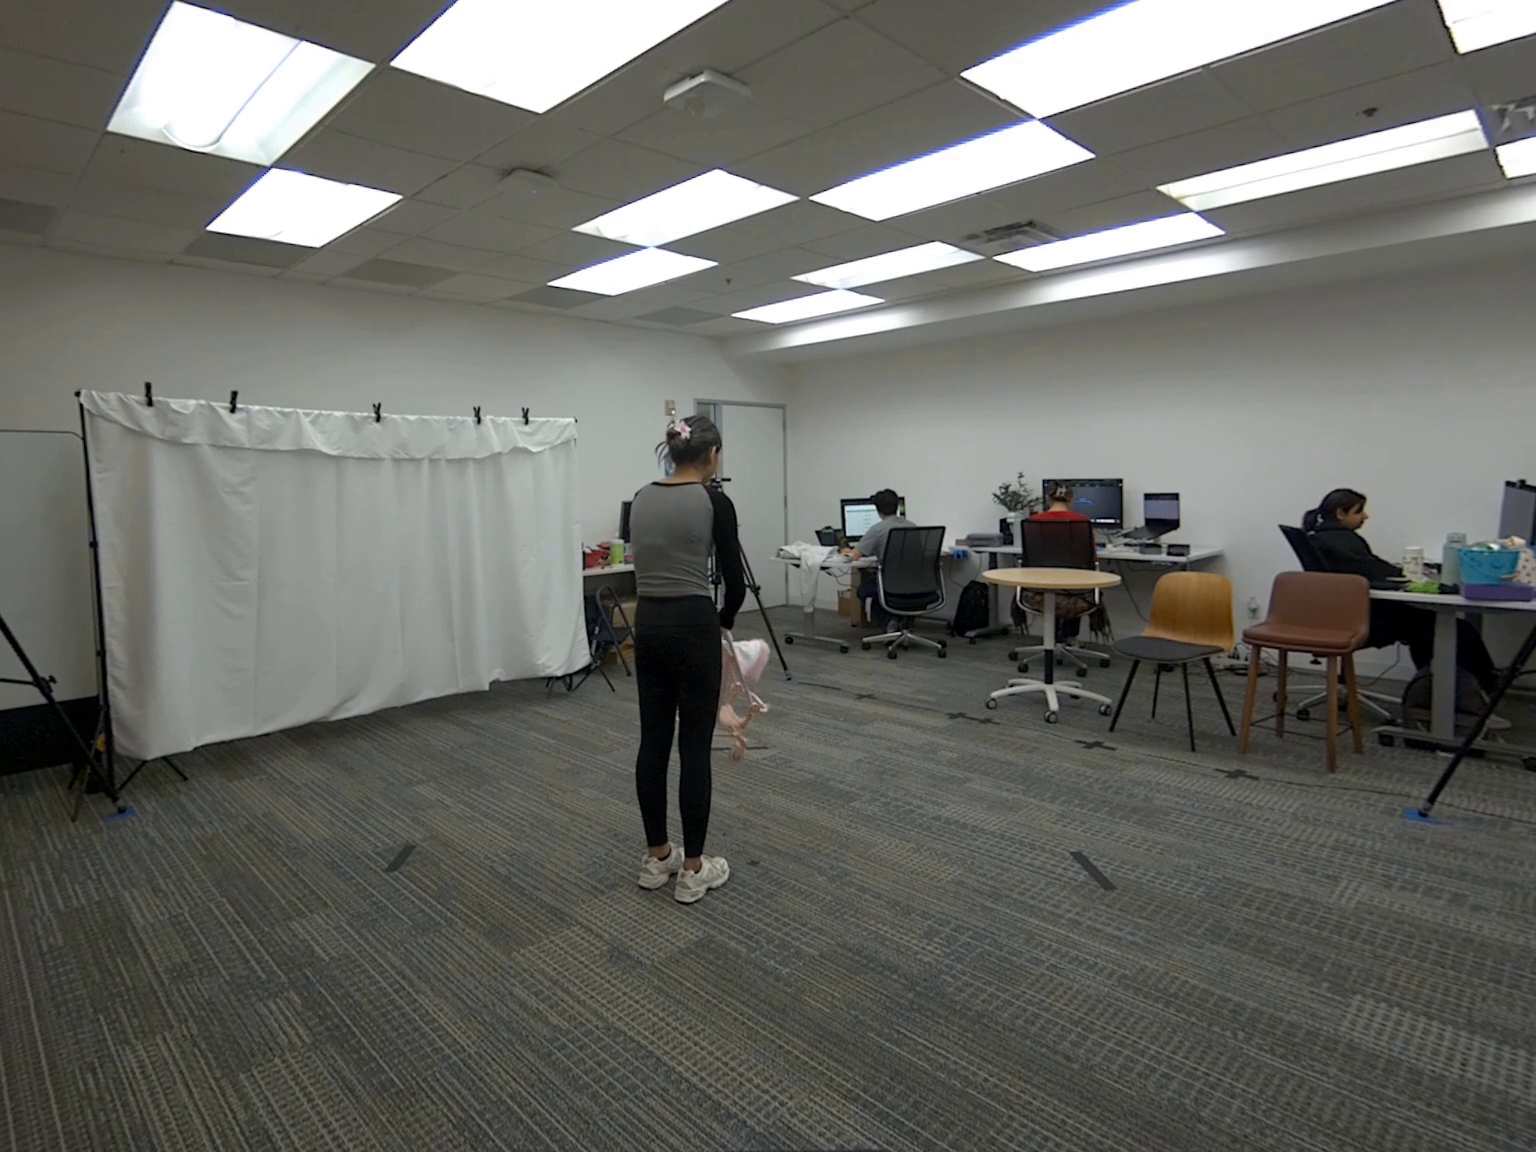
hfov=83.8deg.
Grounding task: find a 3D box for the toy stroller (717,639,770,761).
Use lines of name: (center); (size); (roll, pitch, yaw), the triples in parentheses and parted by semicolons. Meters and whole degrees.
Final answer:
toy stroller: (-0.139, 0.460, 3.288); (0.334, 0.533, 0.288); (20, 6, -19)
